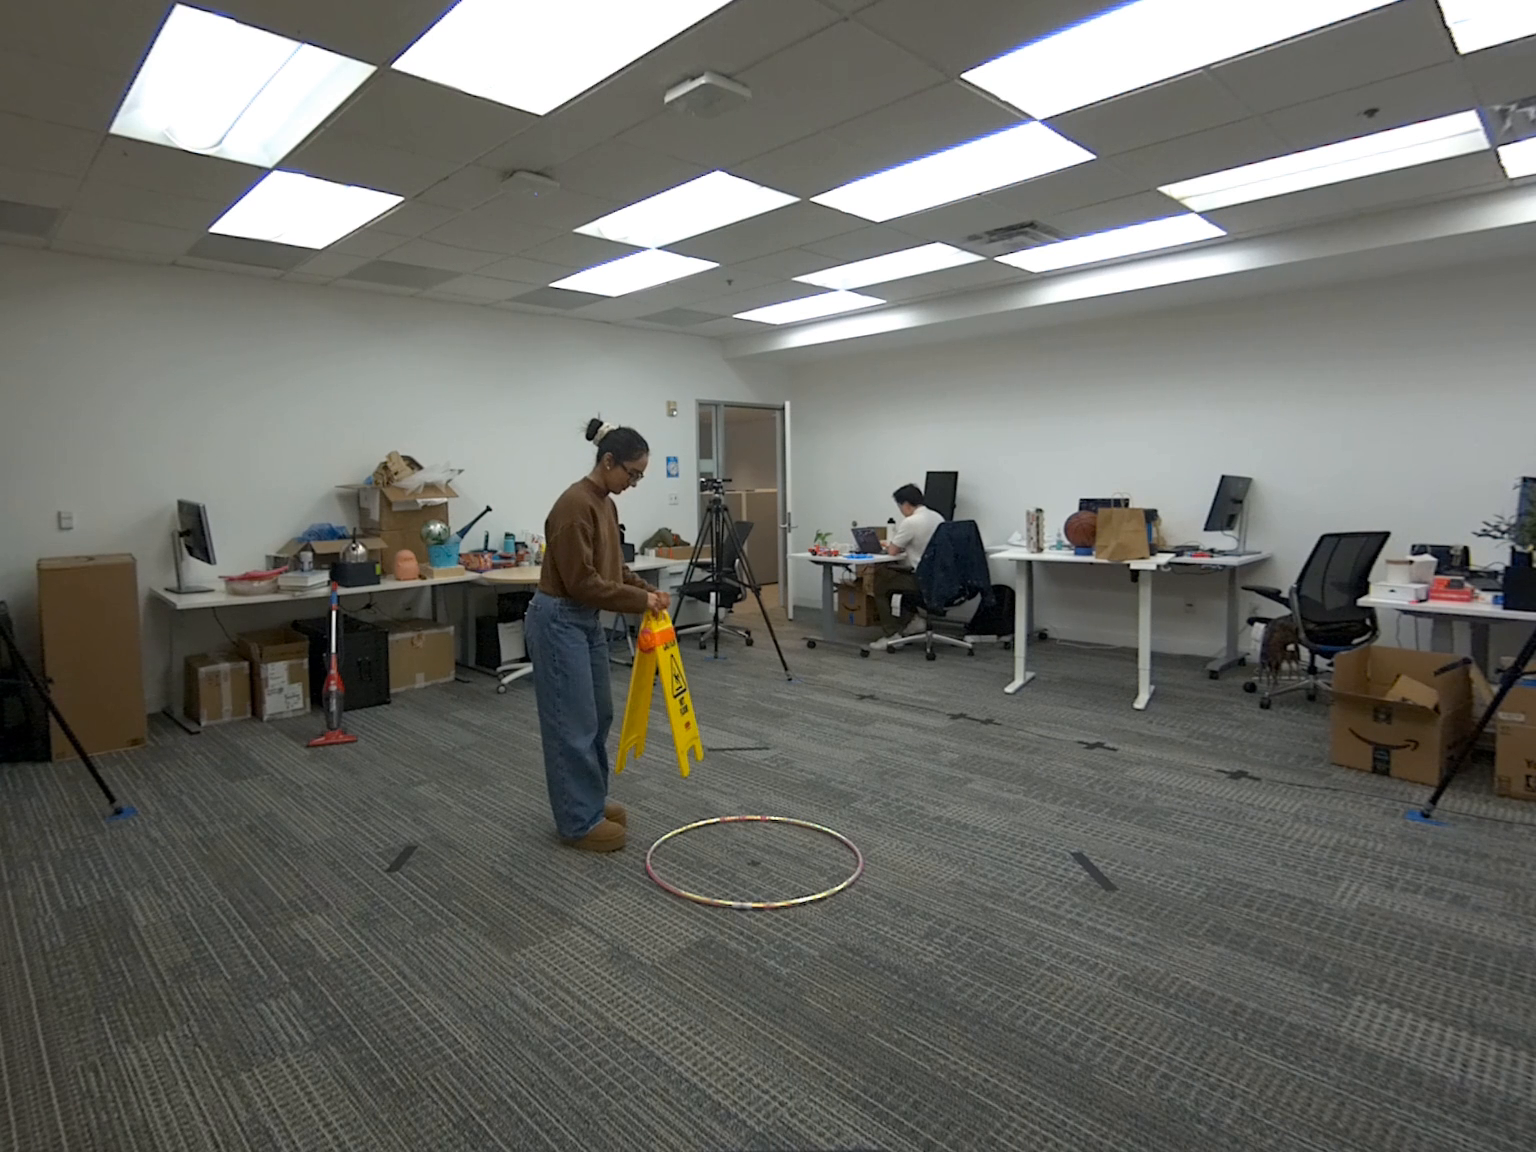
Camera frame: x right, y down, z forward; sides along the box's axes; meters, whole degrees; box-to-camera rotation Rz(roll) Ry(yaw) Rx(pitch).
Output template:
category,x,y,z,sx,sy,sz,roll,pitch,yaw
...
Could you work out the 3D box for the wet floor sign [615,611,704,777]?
category,x,y,z,sx,sy,sz,roll,pitch,yaw
wet floor sign,-0.423,0.416,3.310,0.293,0.644,0.280,-1,3,12
